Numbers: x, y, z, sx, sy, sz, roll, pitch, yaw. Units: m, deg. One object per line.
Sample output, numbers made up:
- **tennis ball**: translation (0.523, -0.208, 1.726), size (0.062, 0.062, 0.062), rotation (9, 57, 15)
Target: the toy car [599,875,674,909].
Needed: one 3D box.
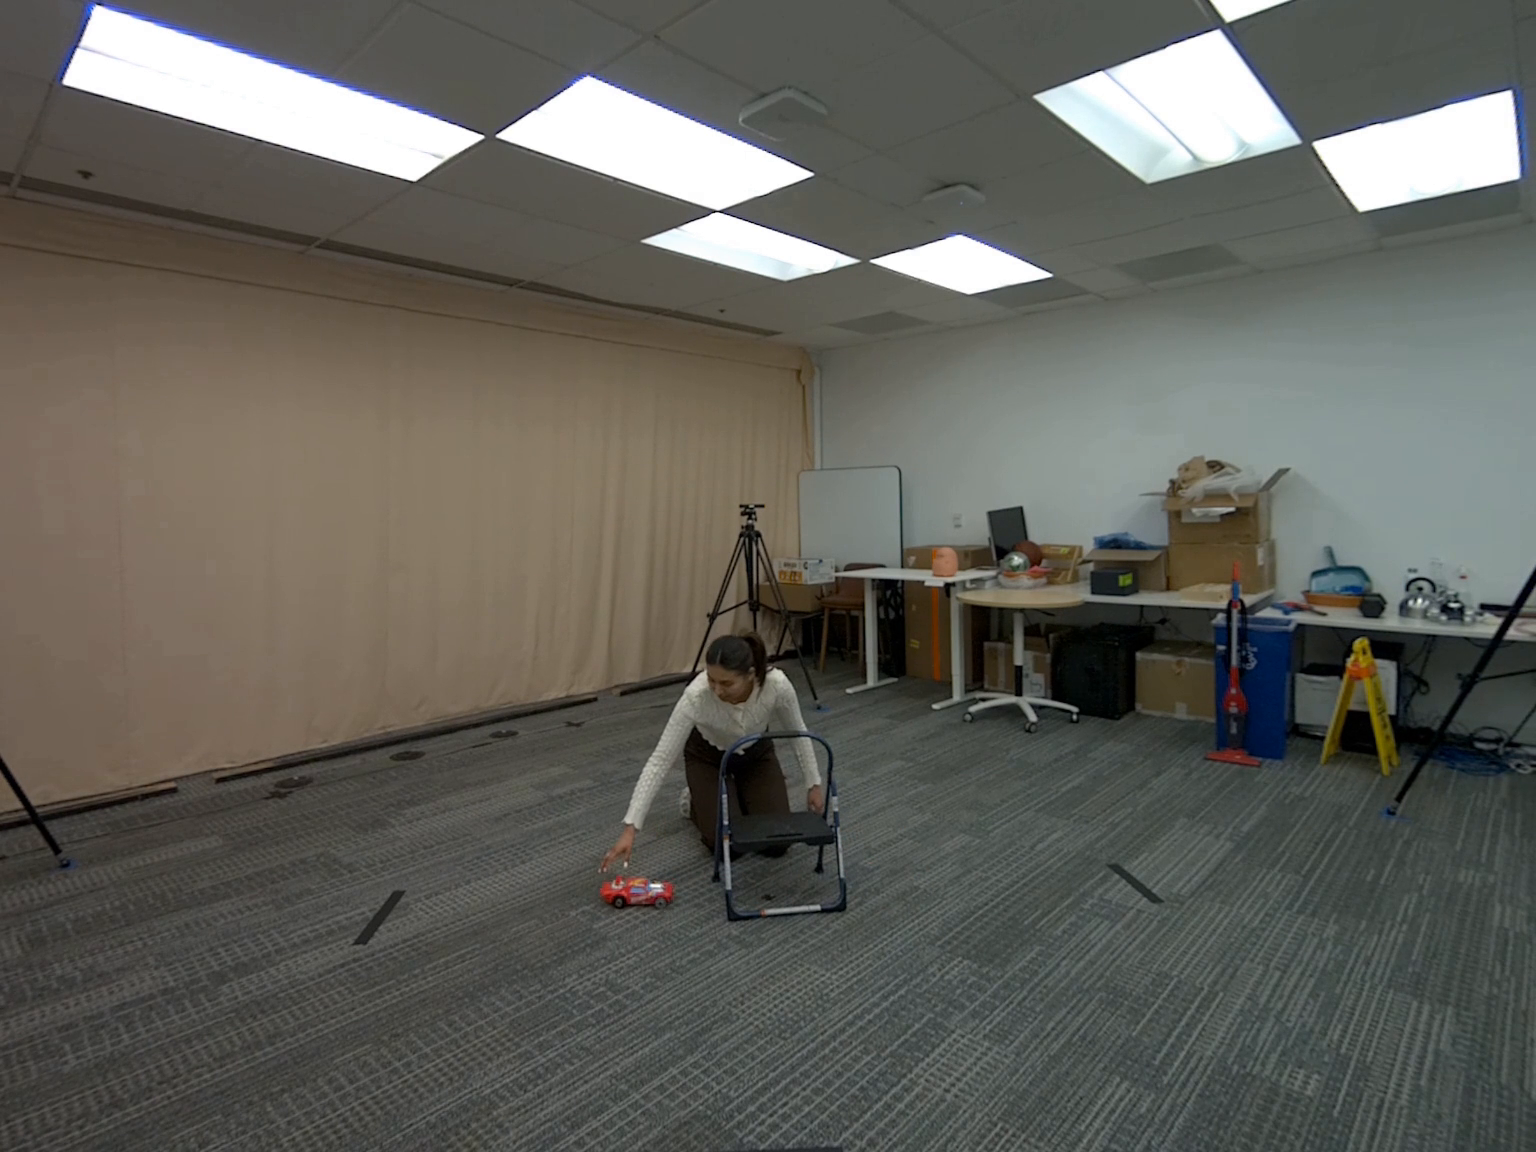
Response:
- **toy car**: translation (-0.458, 1.120, 2.979), size (0.256, 0.083, 0.130), rotation (11, 4, 4)
